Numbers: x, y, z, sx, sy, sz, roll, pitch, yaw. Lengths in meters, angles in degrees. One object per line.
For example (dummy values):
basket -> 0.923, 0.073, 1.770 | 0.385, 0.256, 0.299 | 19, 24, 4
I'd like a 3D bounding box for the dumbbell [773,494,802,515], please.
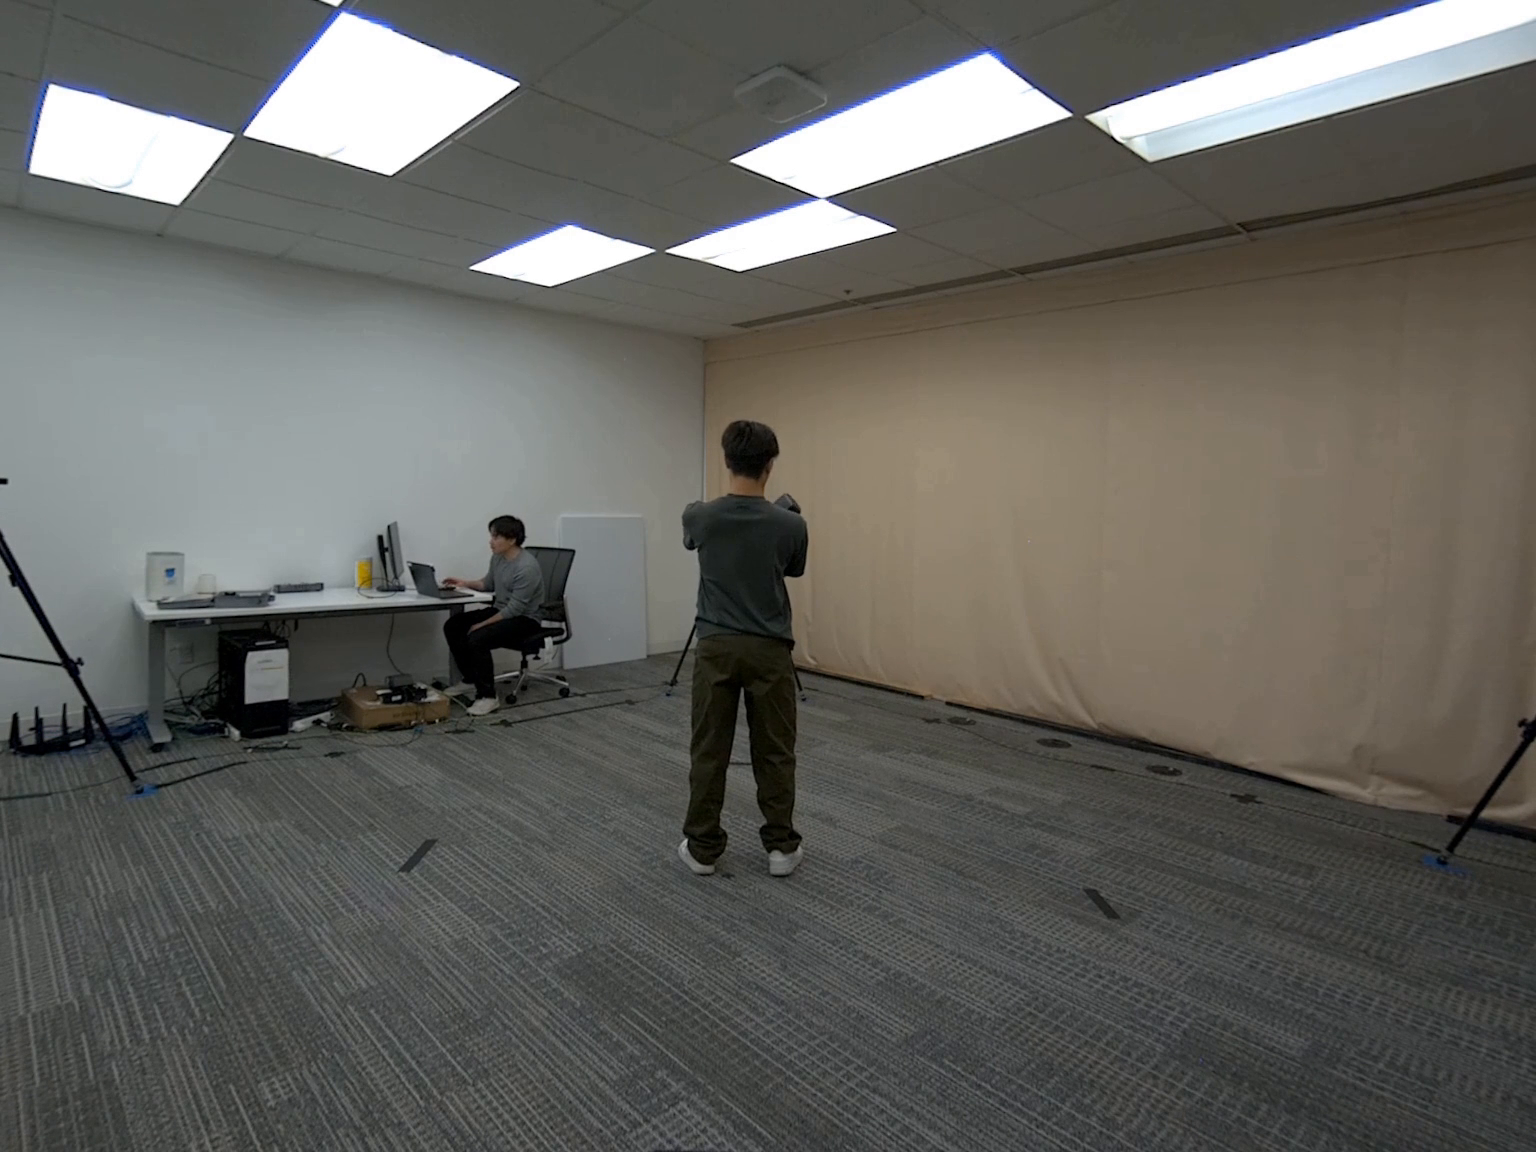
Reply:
dumbbell -> -0.004, -0.221, 3.560 | 0.294, 0.126, 0.106 | -40, -23, 14
